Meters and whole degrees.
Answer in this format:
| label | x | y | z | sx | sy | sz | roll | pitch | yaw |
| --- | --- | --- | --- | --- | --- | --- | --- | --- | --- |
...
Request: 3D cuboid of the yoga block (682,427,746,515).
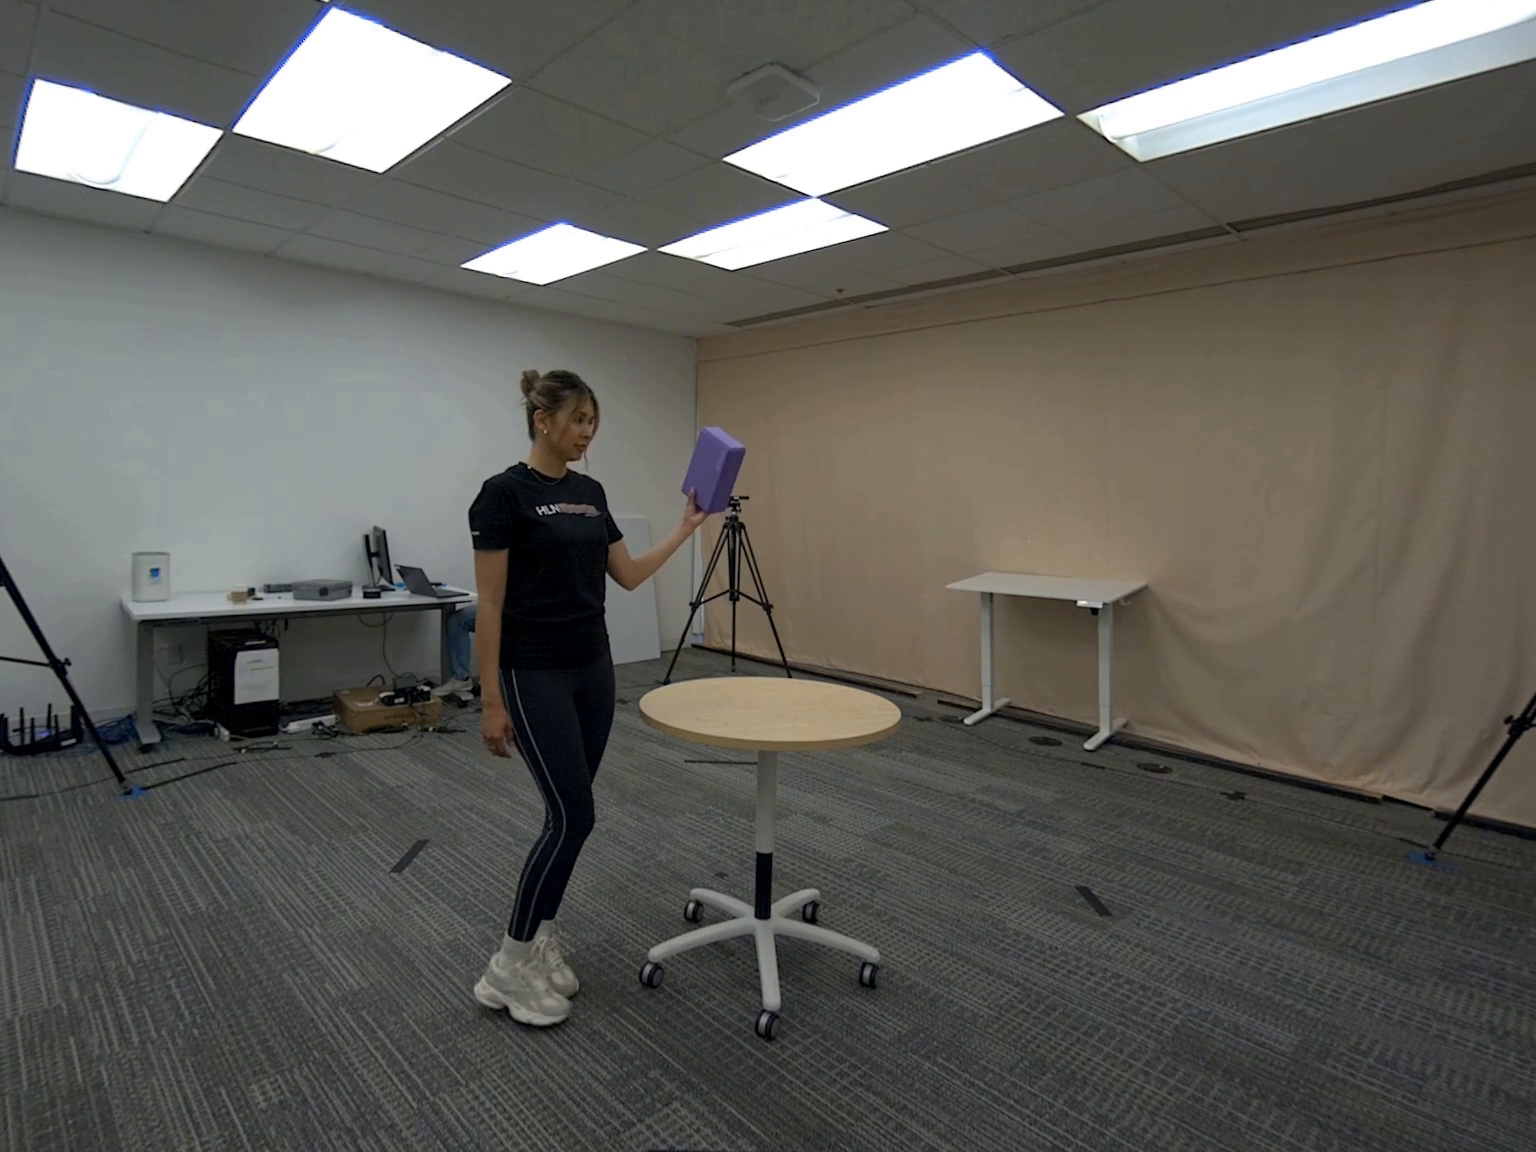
| label | x | y | z | sx | sy | sz | roll | pitch | yaw |
| --- | --- | --- | --- | --- | --- | --- | --- | --- | --- |
| yoga block | -0.181 | -0.324 | 2.586 | 0.075 | 0.227 | 0.153 | -9 | 40 | -45 |
